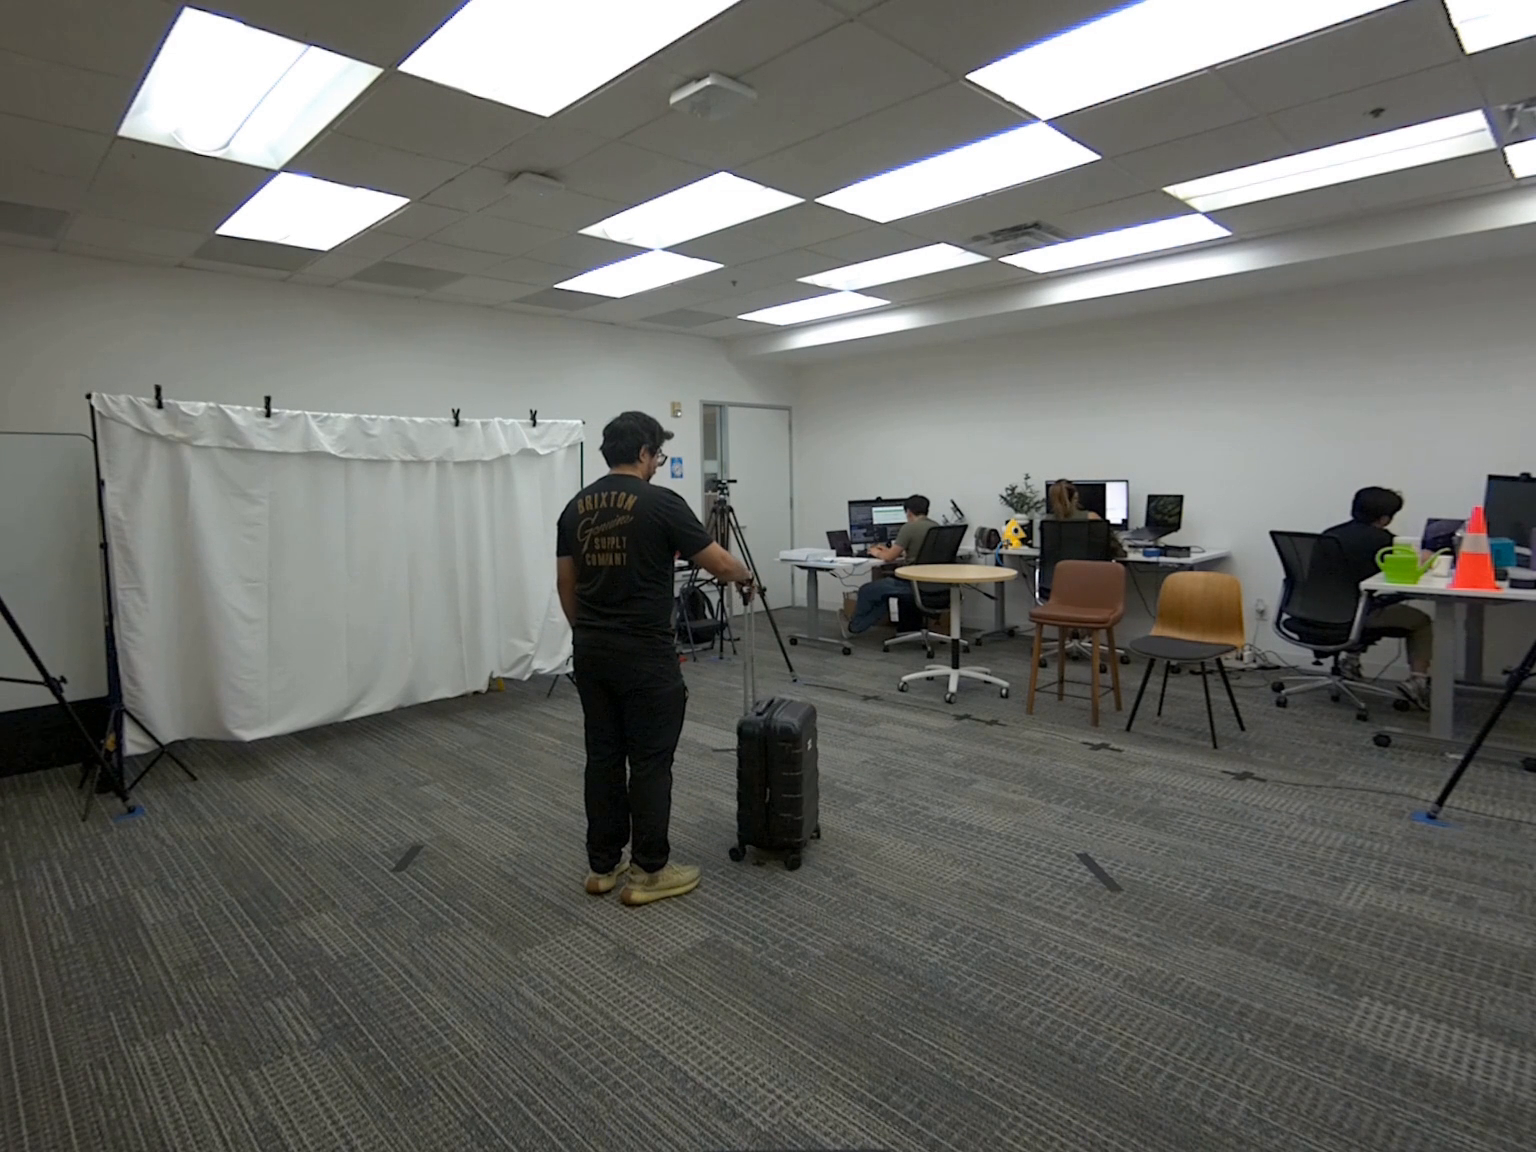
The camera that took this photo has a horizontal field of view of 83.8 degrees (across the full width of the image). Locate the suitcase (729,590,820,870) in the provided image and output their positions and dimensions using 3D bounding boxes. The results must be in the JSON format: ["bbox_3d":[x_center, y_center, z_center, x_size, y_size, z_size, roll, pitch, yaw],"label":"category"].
[{"bbox_3d":[0.046,0.558,3.223,0.261,0.976,0.378,2,3,17],"label":"suitcase"}]
